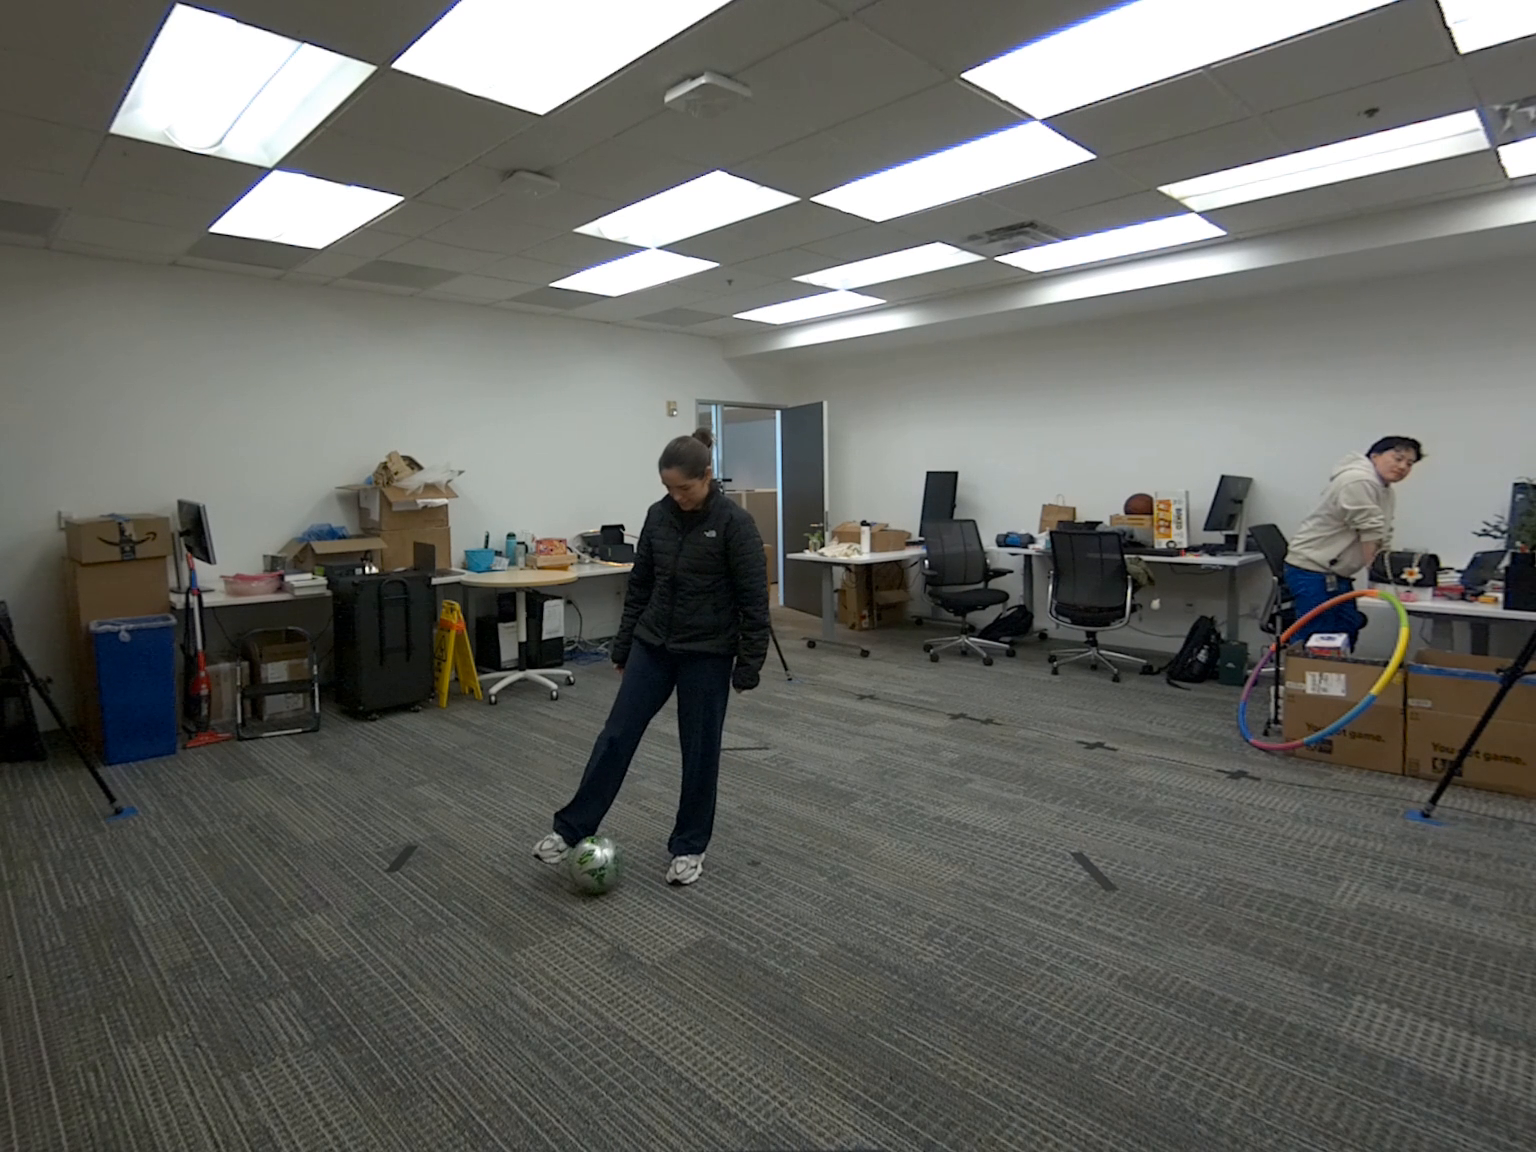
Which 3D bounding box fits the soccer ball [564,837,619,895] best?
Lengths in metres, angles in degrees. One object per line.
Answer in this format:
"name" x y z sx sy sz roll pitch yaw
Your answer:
"soccer ball" -0.580 0.985 2.911 0.187 0.187 0.188 -1 5 -2
